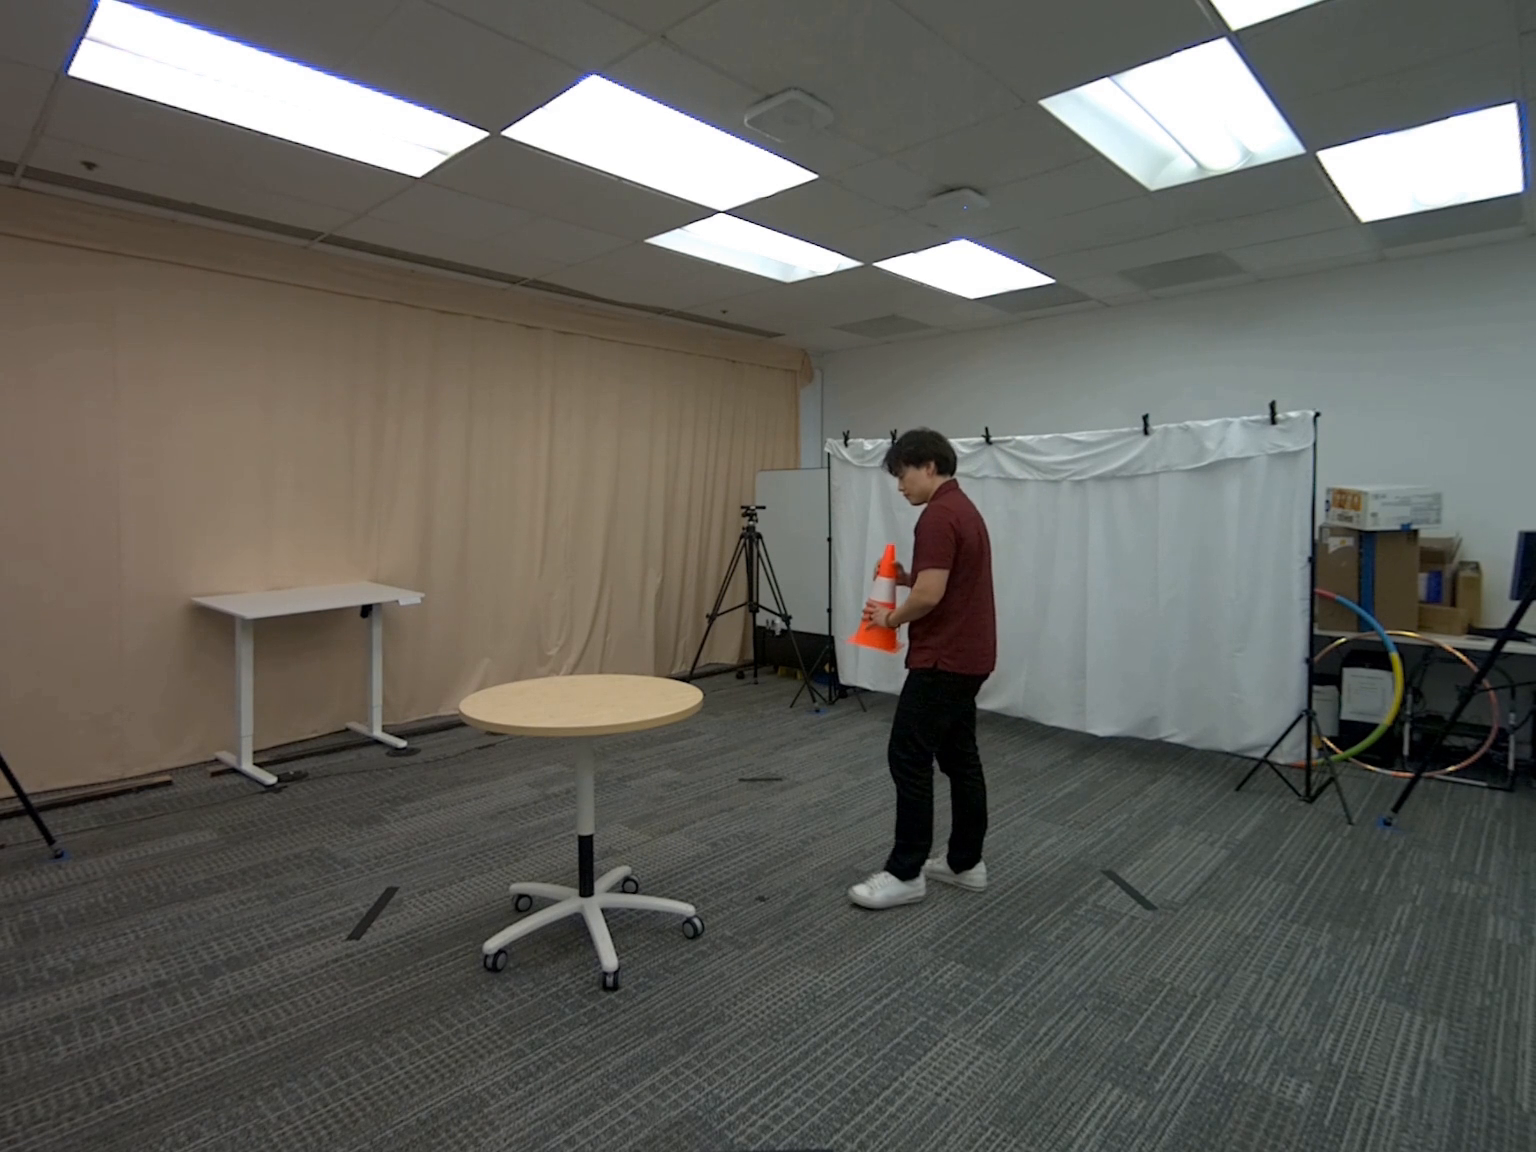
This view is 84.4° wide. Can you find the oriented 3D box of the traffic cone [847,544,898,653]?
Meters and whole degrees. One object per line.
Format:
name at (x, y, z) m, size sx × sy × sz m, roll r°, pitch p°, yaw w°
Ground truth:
traffic cone at (0.450, 0.072, 3.184) m, size 0.208 × 0.382 × 0.200 m, roll 10°, pitch 7°, yaw 22°
